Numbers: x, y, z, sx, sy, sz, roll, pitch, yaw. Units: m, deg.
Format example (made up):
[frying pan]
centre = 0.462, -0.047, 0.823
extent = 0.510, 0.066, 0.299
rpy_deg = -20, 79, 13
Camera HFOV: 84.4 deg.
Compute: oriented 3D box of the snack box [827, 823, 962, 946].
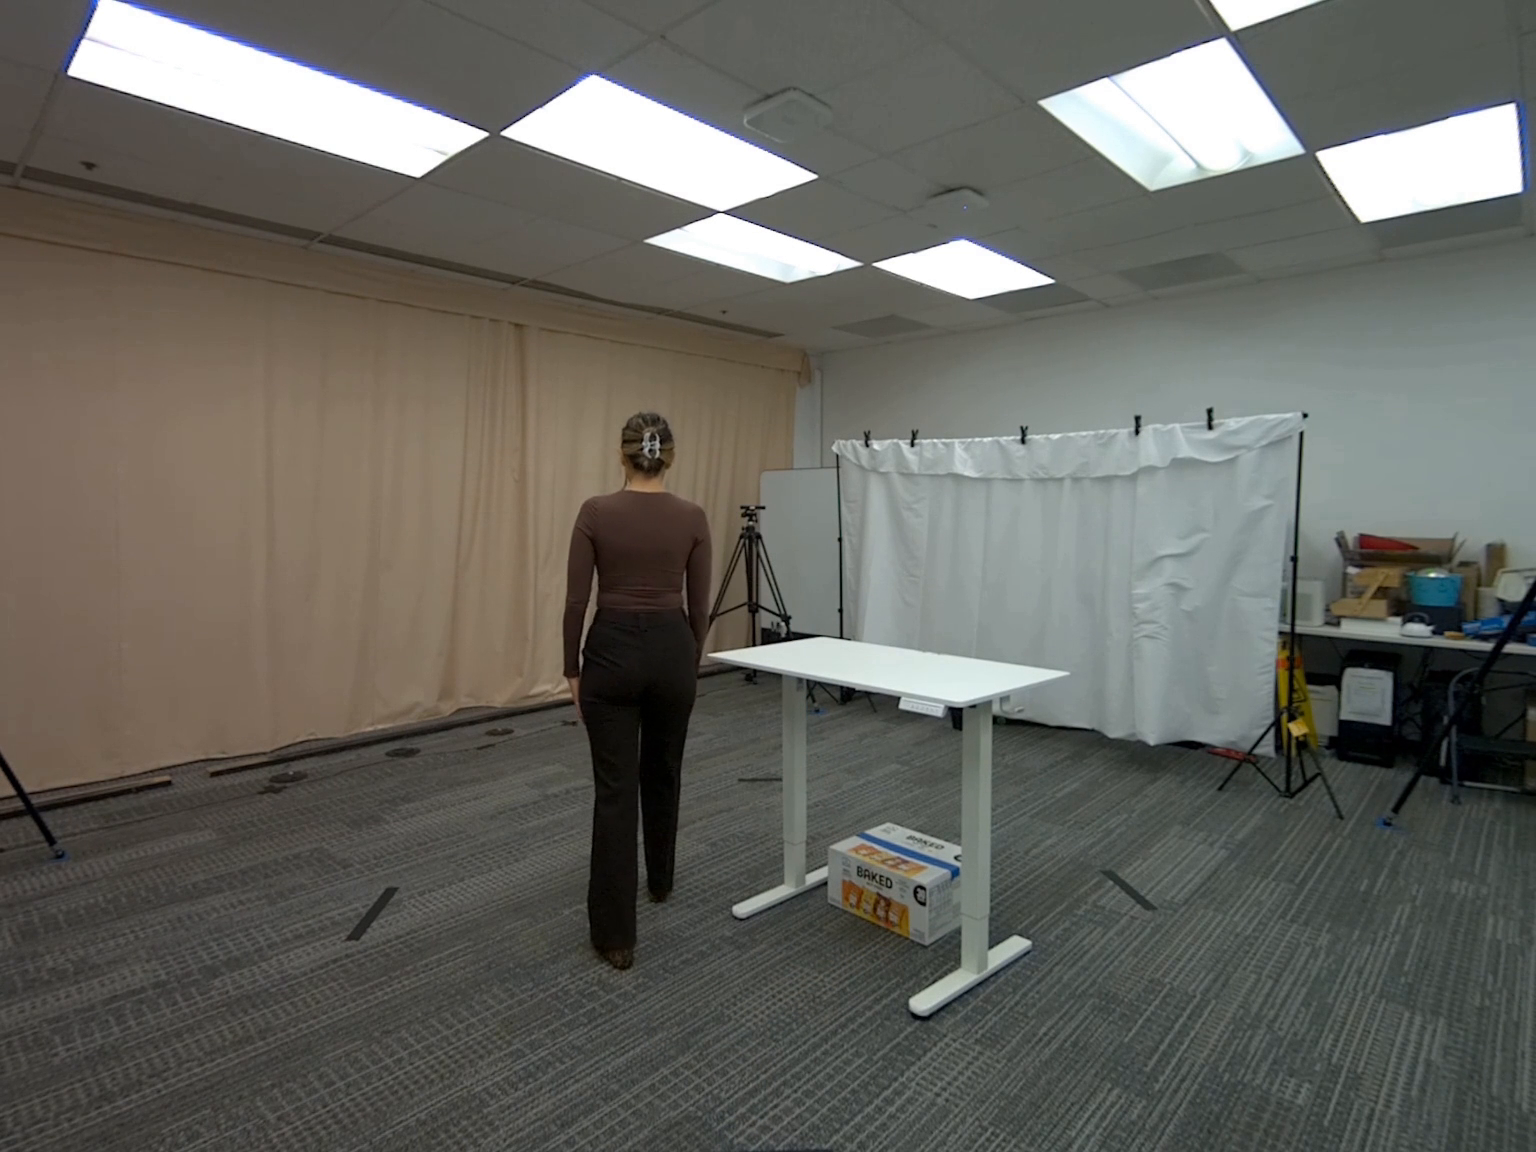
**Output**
[snack box]
centre = 0.478, 1.049, 2.901
extent = 0.330, 0.205, 0.419
rpy_deg = -5, 7, -44
